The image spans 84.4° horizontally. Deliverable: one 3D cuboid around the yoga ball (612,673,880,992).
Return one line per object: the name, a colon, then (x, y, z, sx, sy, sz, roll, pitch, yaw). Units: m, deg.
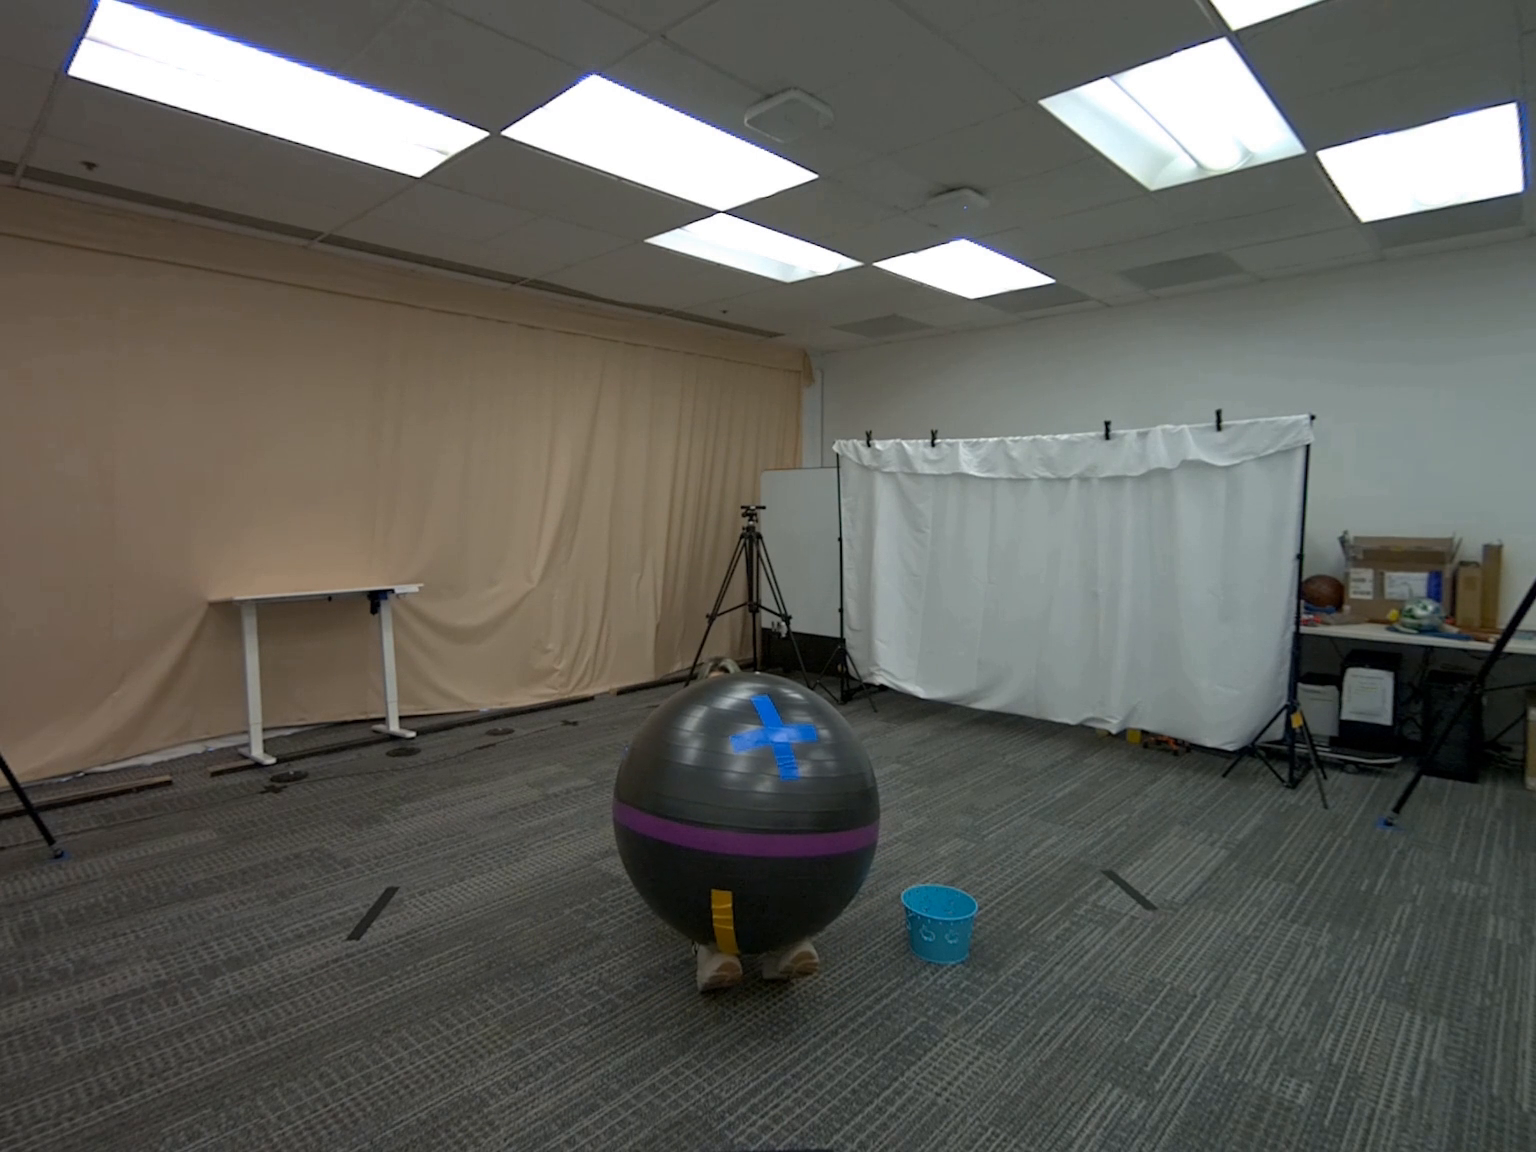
yoga ball: (-0.059, 0.671, 2.381, 0.757, 0.756, 0.761, 0, 4, -2)
